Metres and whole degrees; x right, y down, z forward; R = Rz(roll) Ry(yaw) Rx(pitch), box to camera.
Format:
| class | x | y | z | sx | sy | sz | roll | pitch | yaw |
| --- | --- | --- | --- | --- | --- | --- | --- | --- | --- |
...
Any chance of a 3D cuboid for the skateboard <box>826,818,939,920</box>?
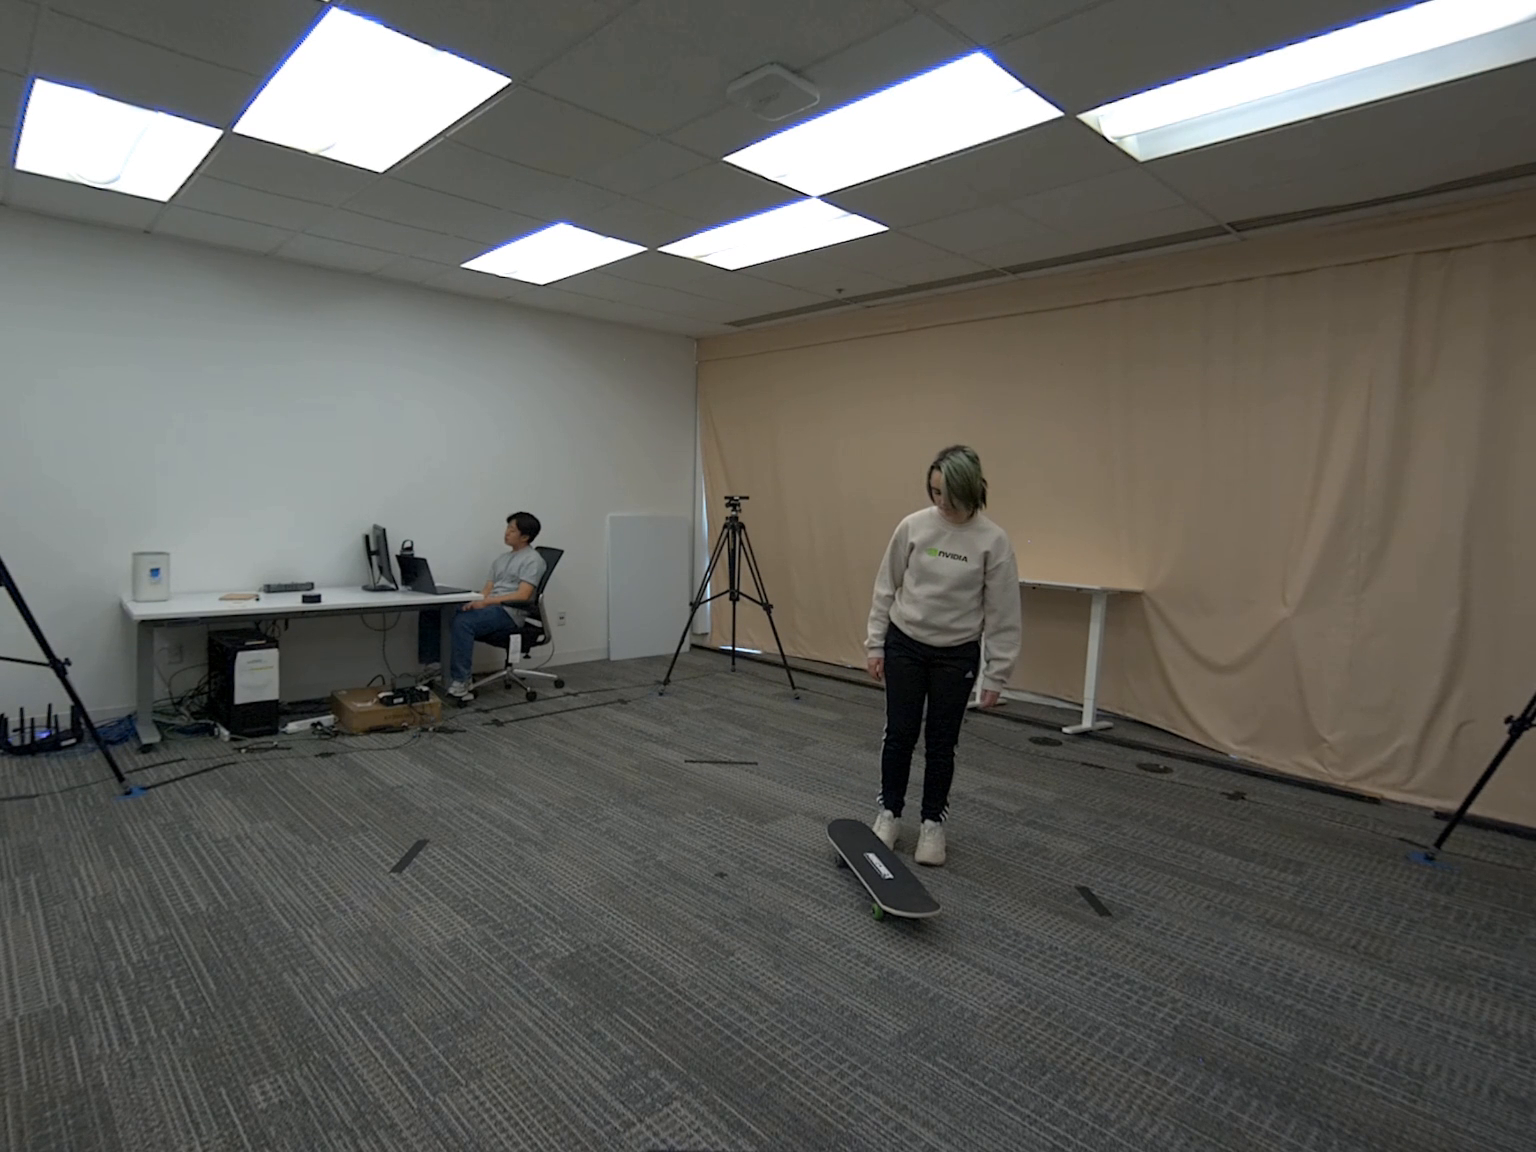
| class | x | y | z | sx | sy | sz | roll | pitch | yaw |
| --- | --- | --- | --- | --- | --- | --- | --- | --- | --- |
| skateboard | 0.386 | 1.067 | 3.016 | 0.191 | 0.110 | 0.796 | 0 | 5 | -14 |
